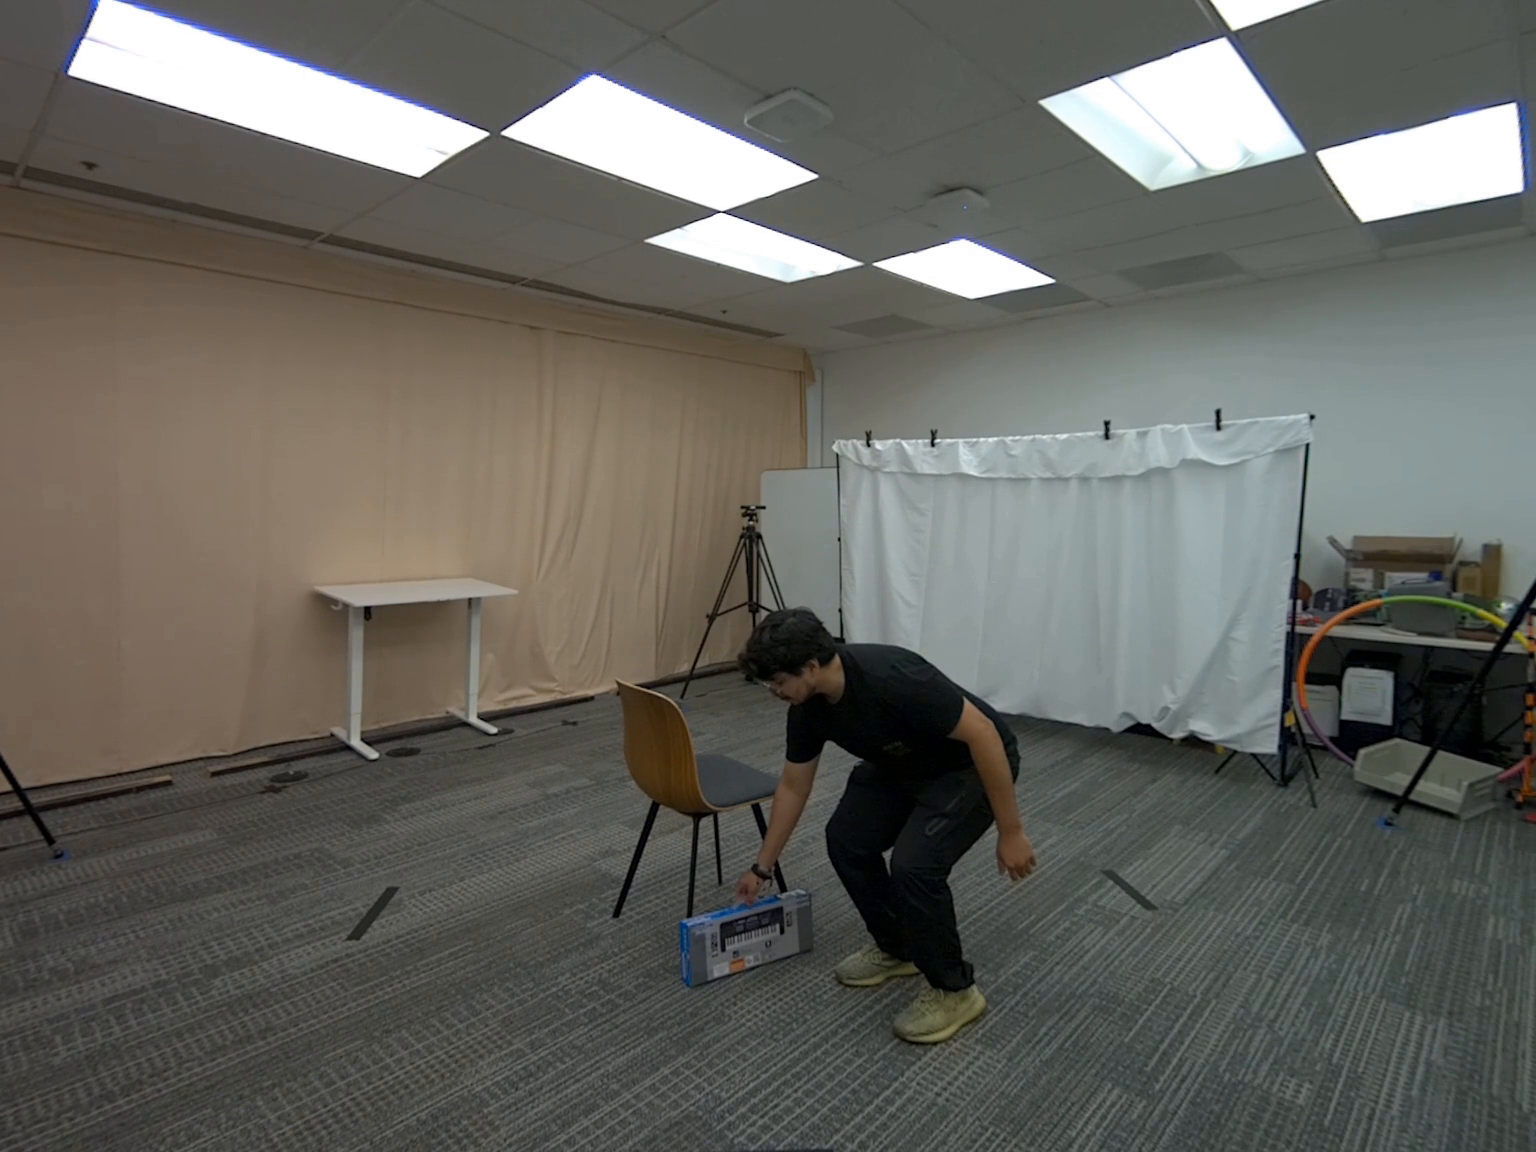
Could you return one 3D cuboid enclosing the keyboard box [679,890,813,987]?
[{"bbox_3d":[-0.053,1.098,2.555,0.425,0.176,0.060,-3,-2,-29],"label":"keyboard box"}]
